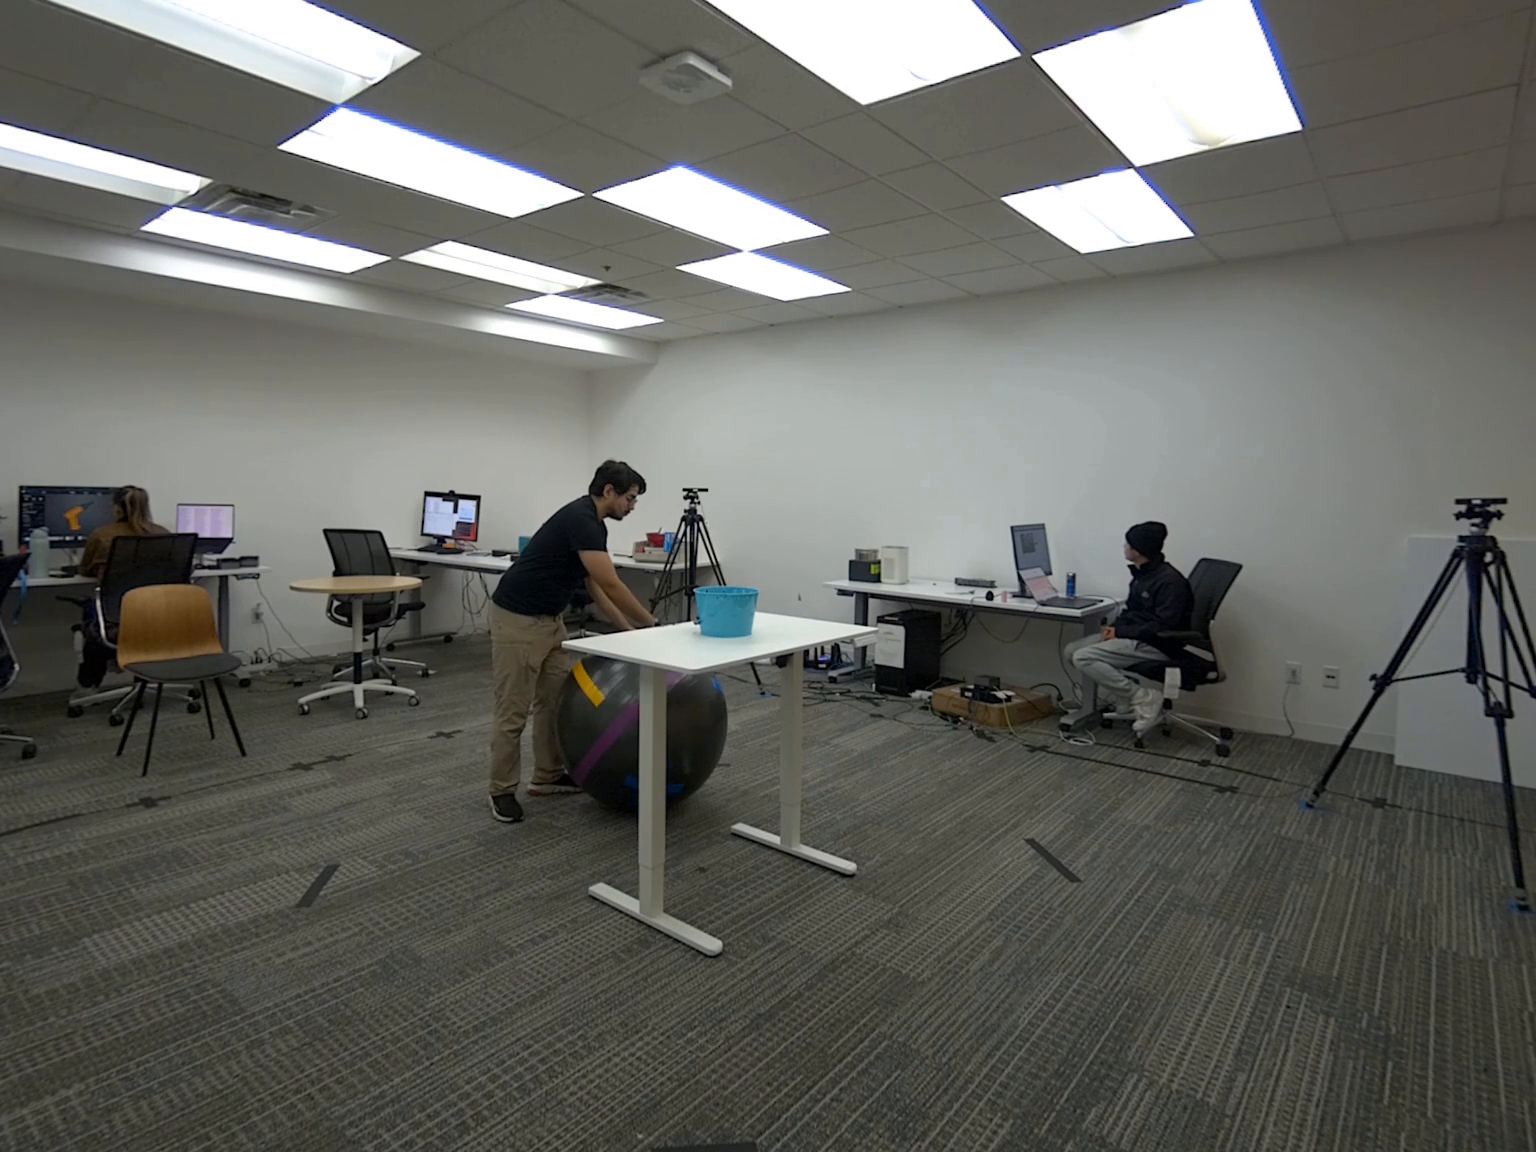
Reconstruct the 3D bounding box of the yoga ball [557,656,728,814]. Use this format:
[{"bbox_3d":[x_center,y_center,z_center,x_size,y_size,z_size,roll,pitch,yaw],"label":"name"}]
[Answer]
[{"bbox_3d":[-0.574,0.643,3.737,0.757,0.755,0.762,1,4,-2],"label":"yoga ball"}]
